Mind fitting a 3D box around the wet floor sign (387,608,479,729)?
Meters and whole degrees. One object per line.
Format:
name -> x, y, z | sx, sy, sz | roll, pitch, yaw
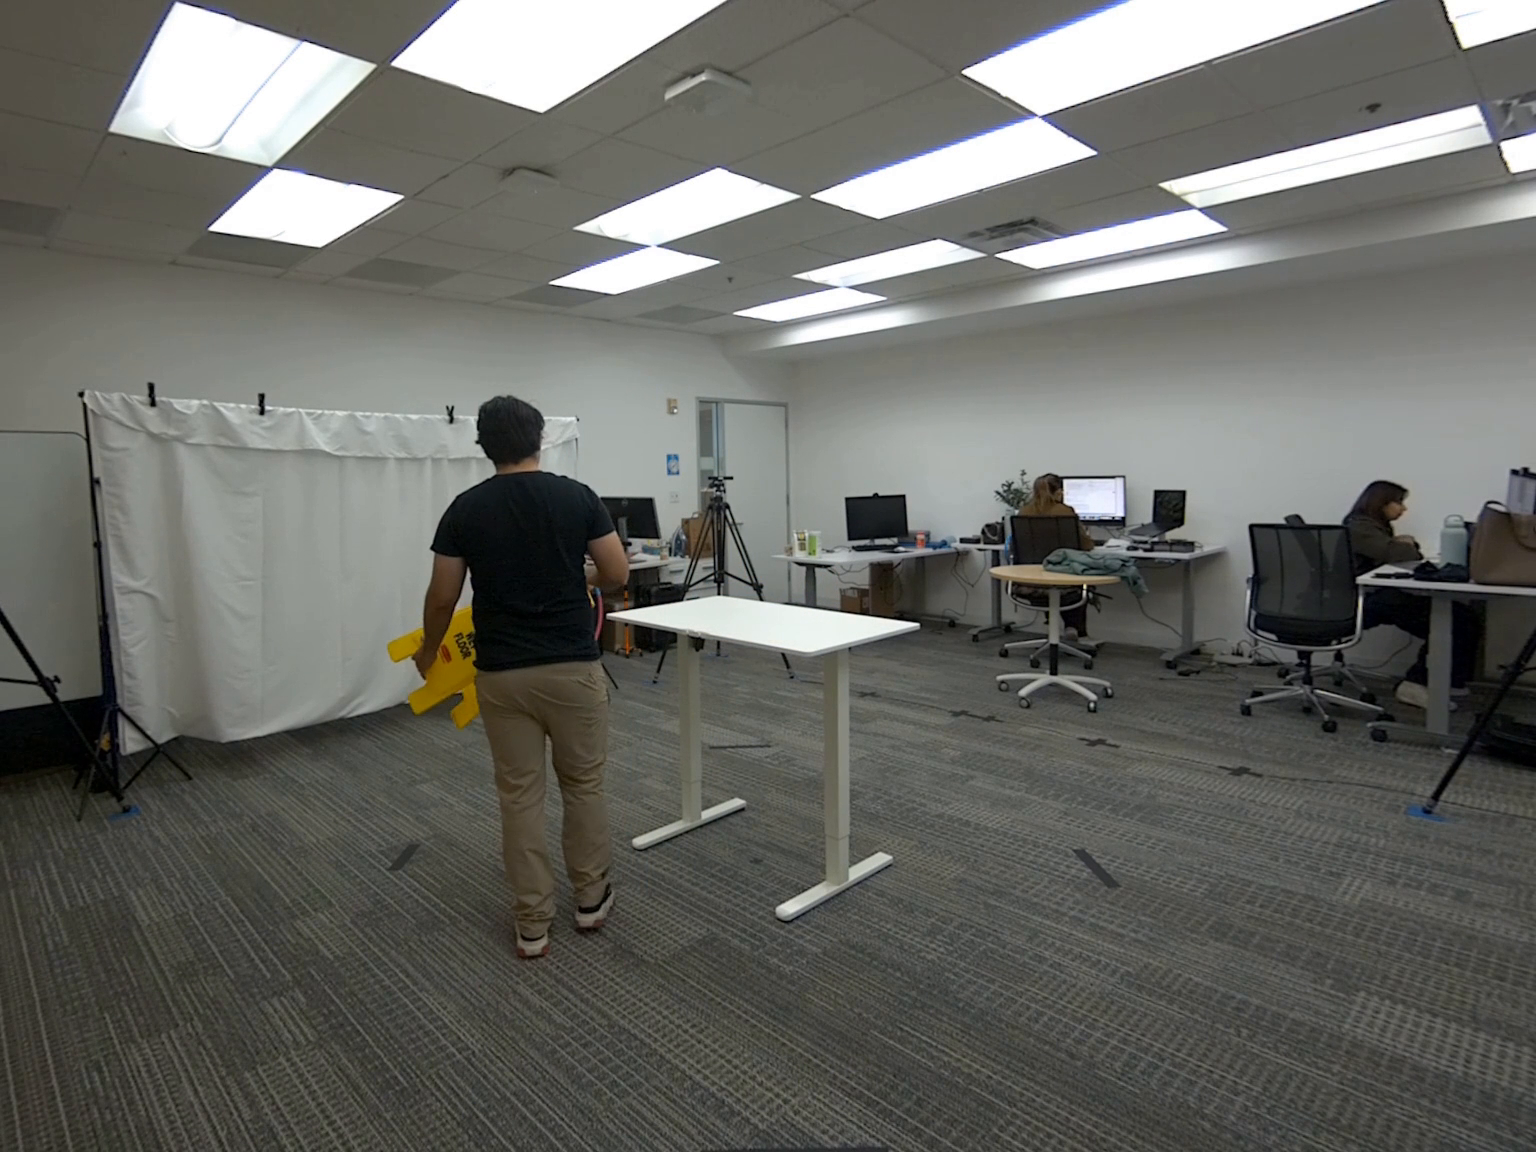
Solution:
wet floor sign -> -0.885, 0.201, 2.889 | 0.646, 0.291, 0.281 | -32, -26, -1
